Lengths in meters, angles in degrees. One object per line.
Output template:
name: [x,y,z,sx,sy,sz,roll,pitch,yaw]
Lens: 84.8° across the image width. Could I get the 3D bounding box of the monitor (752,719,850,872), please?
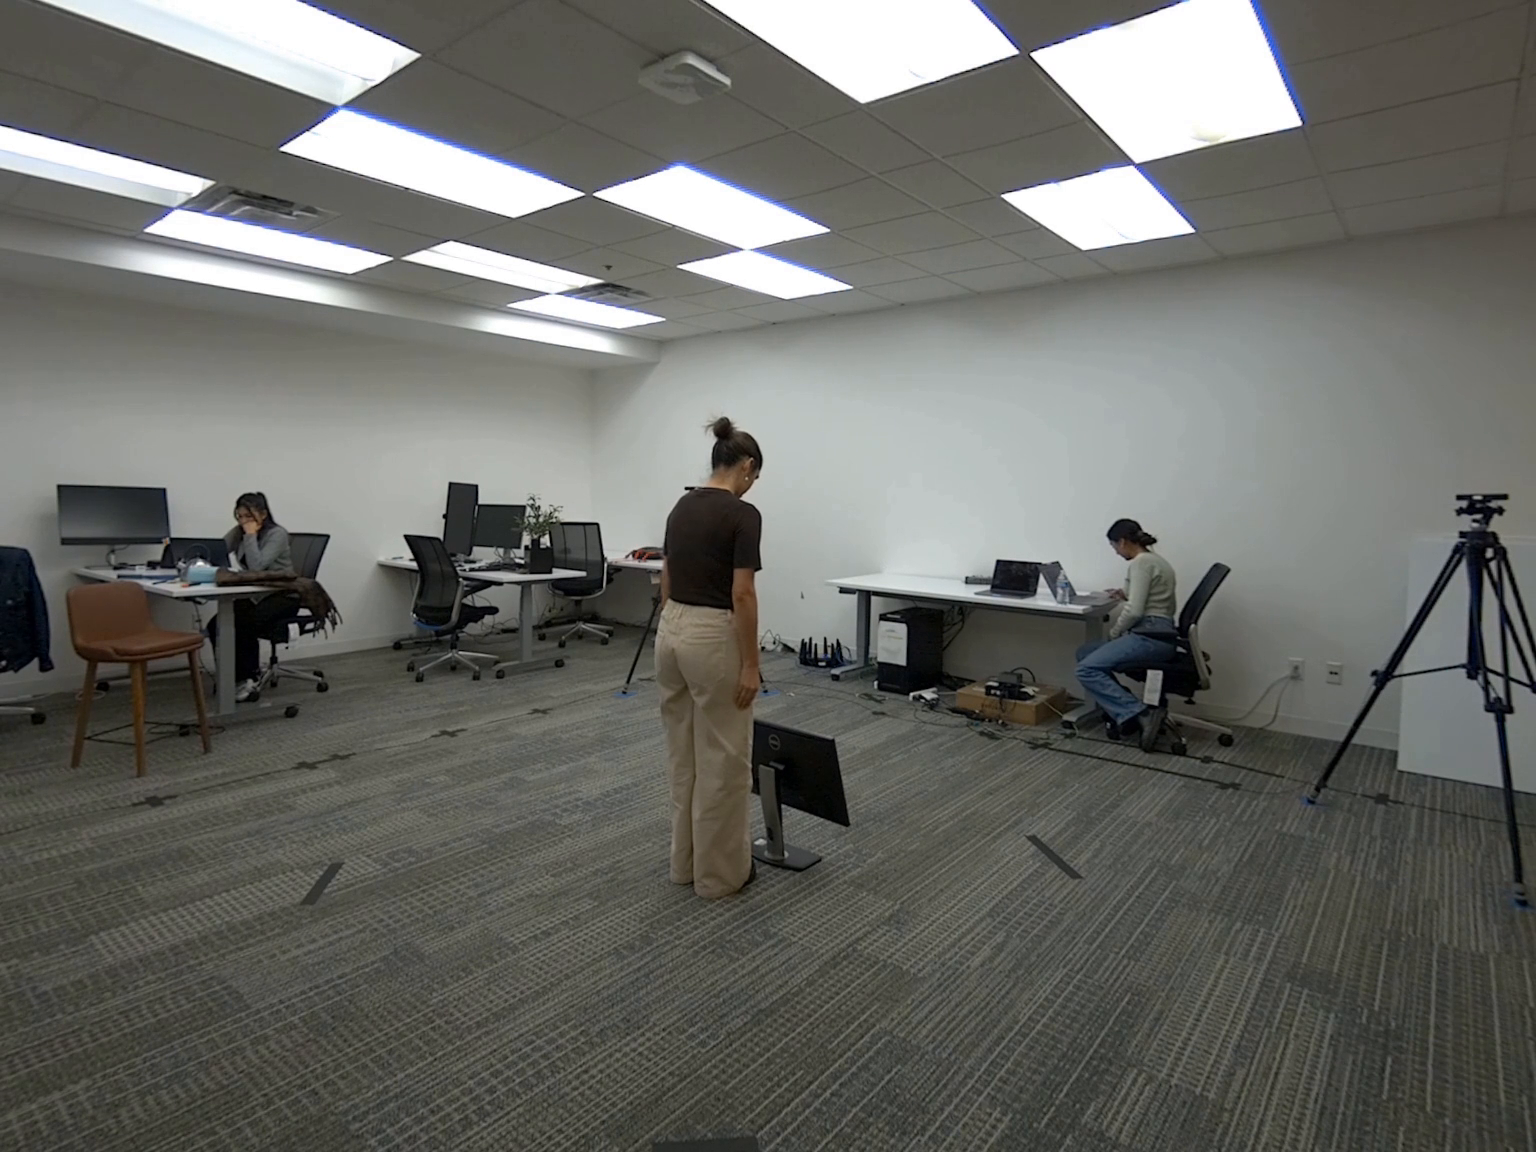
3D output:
monitor: [0.037,0.811,3.195,0.557,0.521,0.181,4,6,42]
